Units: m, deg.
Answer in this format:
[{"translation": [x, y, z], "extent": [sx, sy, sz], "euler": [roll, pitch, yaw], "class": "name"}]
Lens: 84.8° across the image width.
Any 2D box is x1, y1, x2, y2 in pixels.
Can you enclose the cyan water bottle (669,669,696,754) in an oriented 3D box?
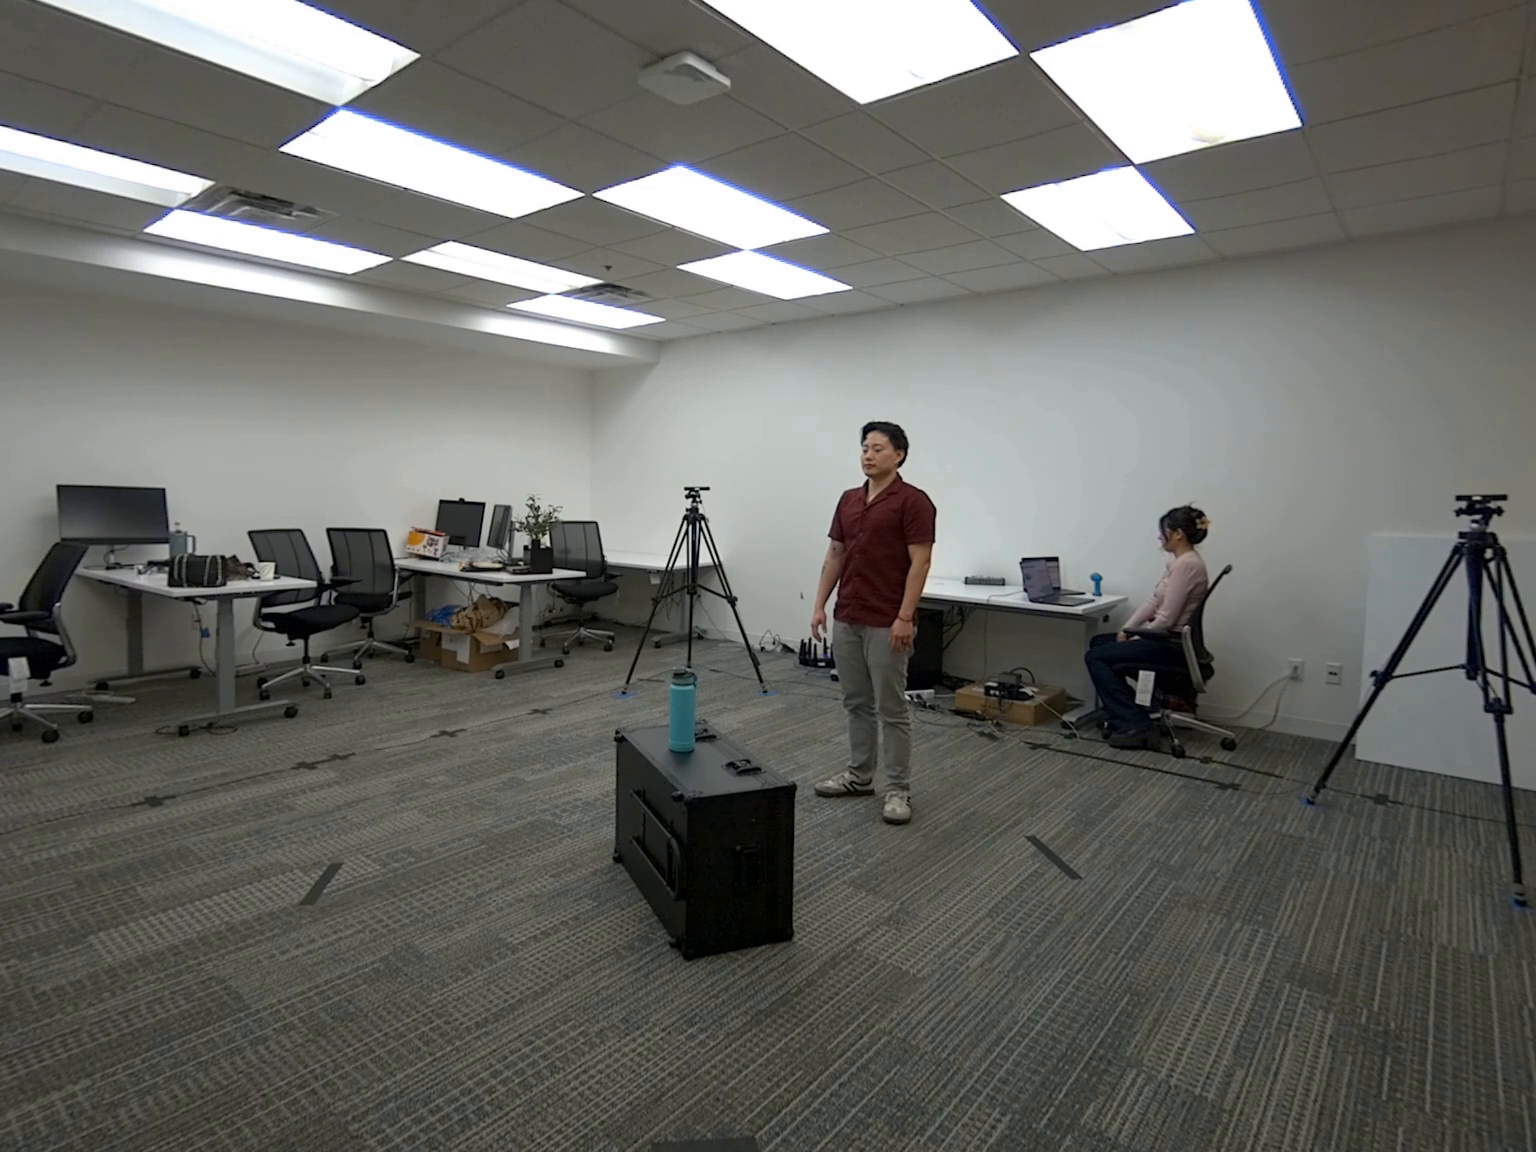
[{"translation": [-0.307, 0.454, 2.956], "extent": [0.092, 0.283, 0.092], "euler": [2, 2, -2], "class": "cyan water bottle"}]
